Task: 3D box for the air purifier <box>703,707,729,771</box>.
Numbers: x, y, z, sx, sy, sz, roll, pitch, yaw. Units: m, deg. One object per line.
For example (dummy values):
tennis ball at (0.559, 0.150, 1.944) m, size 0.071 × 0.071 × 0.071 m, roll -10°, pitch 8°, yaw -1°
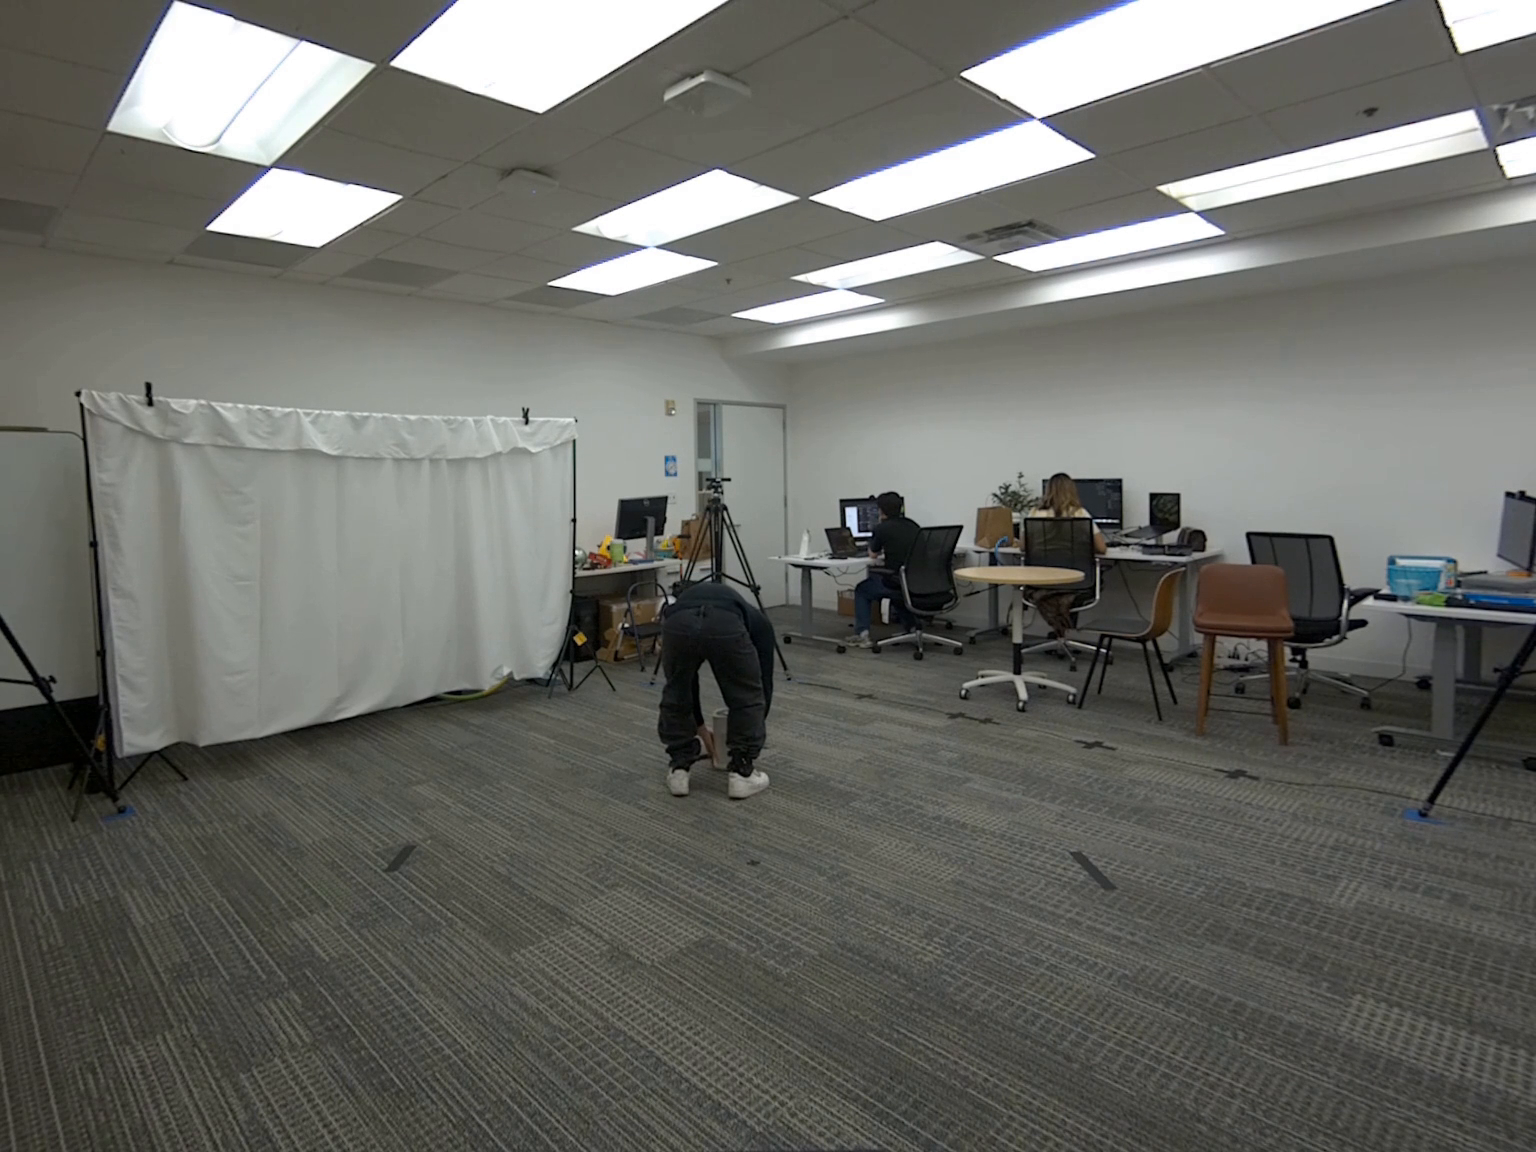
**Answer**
air purifier at (-0.174, 0.796, 4.160) m, size 0.172 × 0.264 × 0.171 m, roll -3°, pitch 5°, yaw 2°
